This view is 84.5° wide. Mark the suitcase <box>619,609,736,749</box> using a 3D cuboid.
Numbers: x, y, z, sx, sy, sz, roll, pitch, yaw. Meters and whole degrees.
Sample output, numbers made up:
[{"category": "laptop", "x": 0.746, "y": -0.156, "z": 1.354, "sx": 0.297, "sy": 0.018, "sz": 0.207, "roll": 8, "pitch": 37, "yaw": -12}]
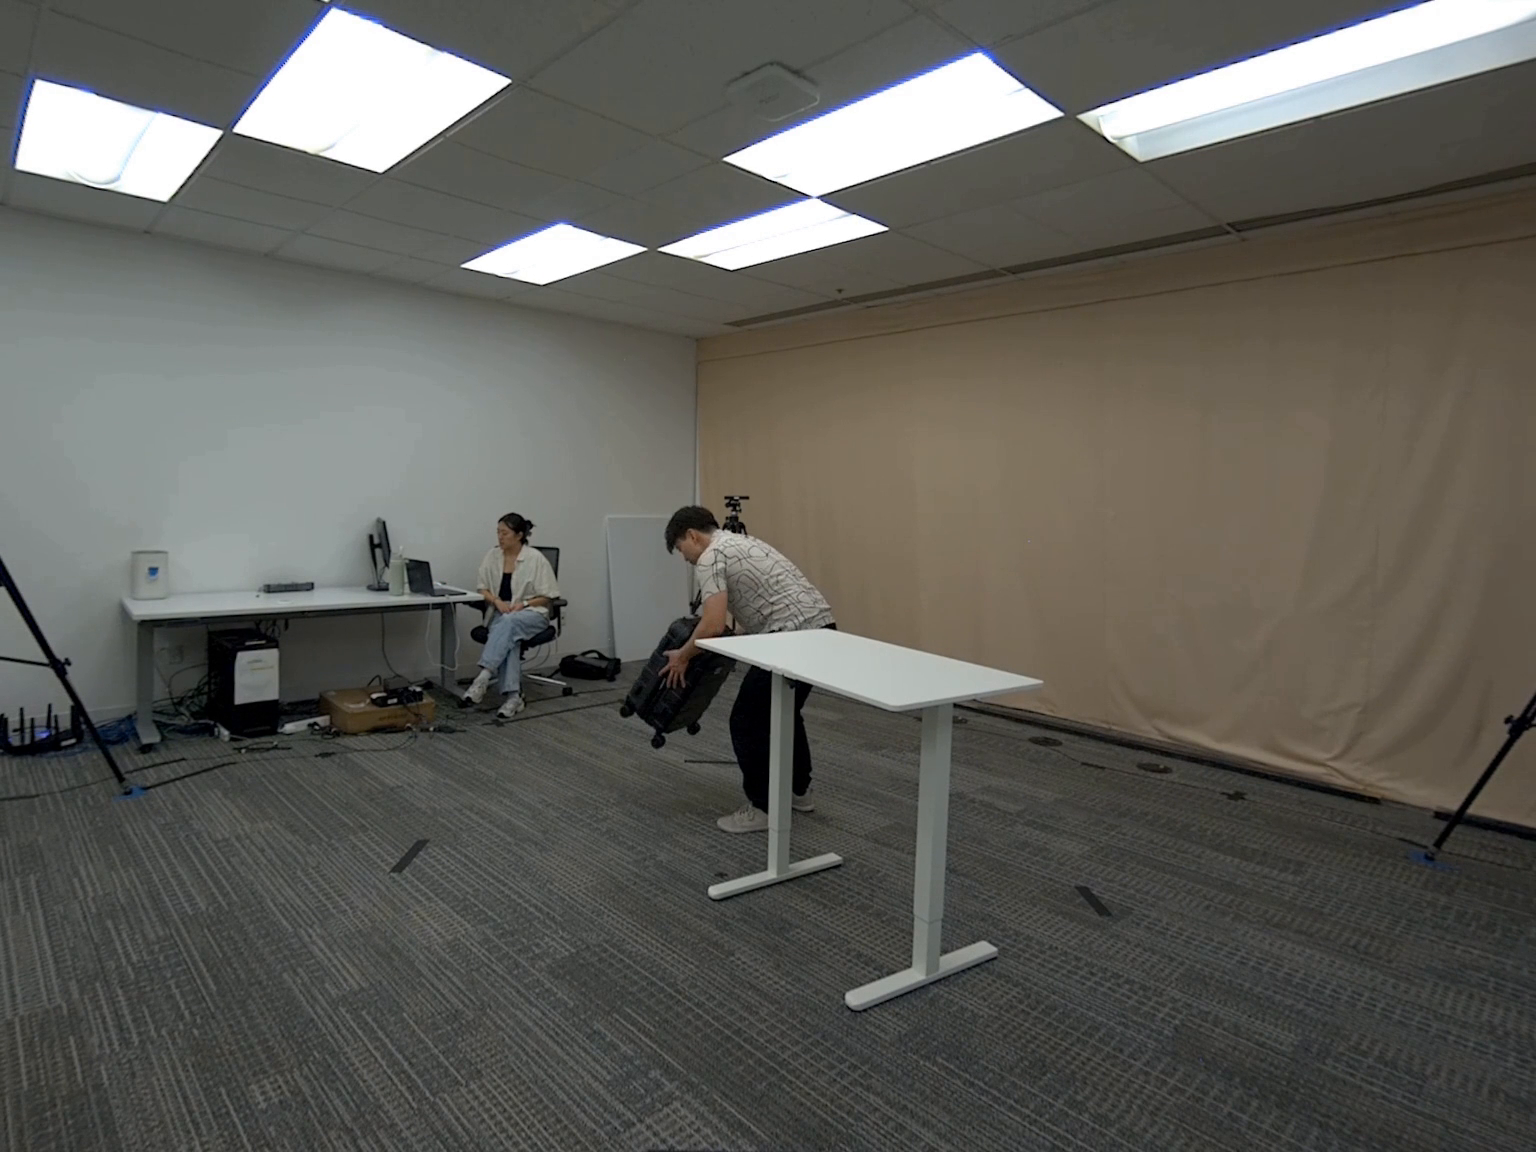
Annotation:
[{"category": "suitcase", "x": -0.374, "y": 0.440, "z": 3.764, "sx": 0.254, "sy": 0.547, "sz": 0.368, "roll": 38, "pitch": 17, "yaw": 22}]
